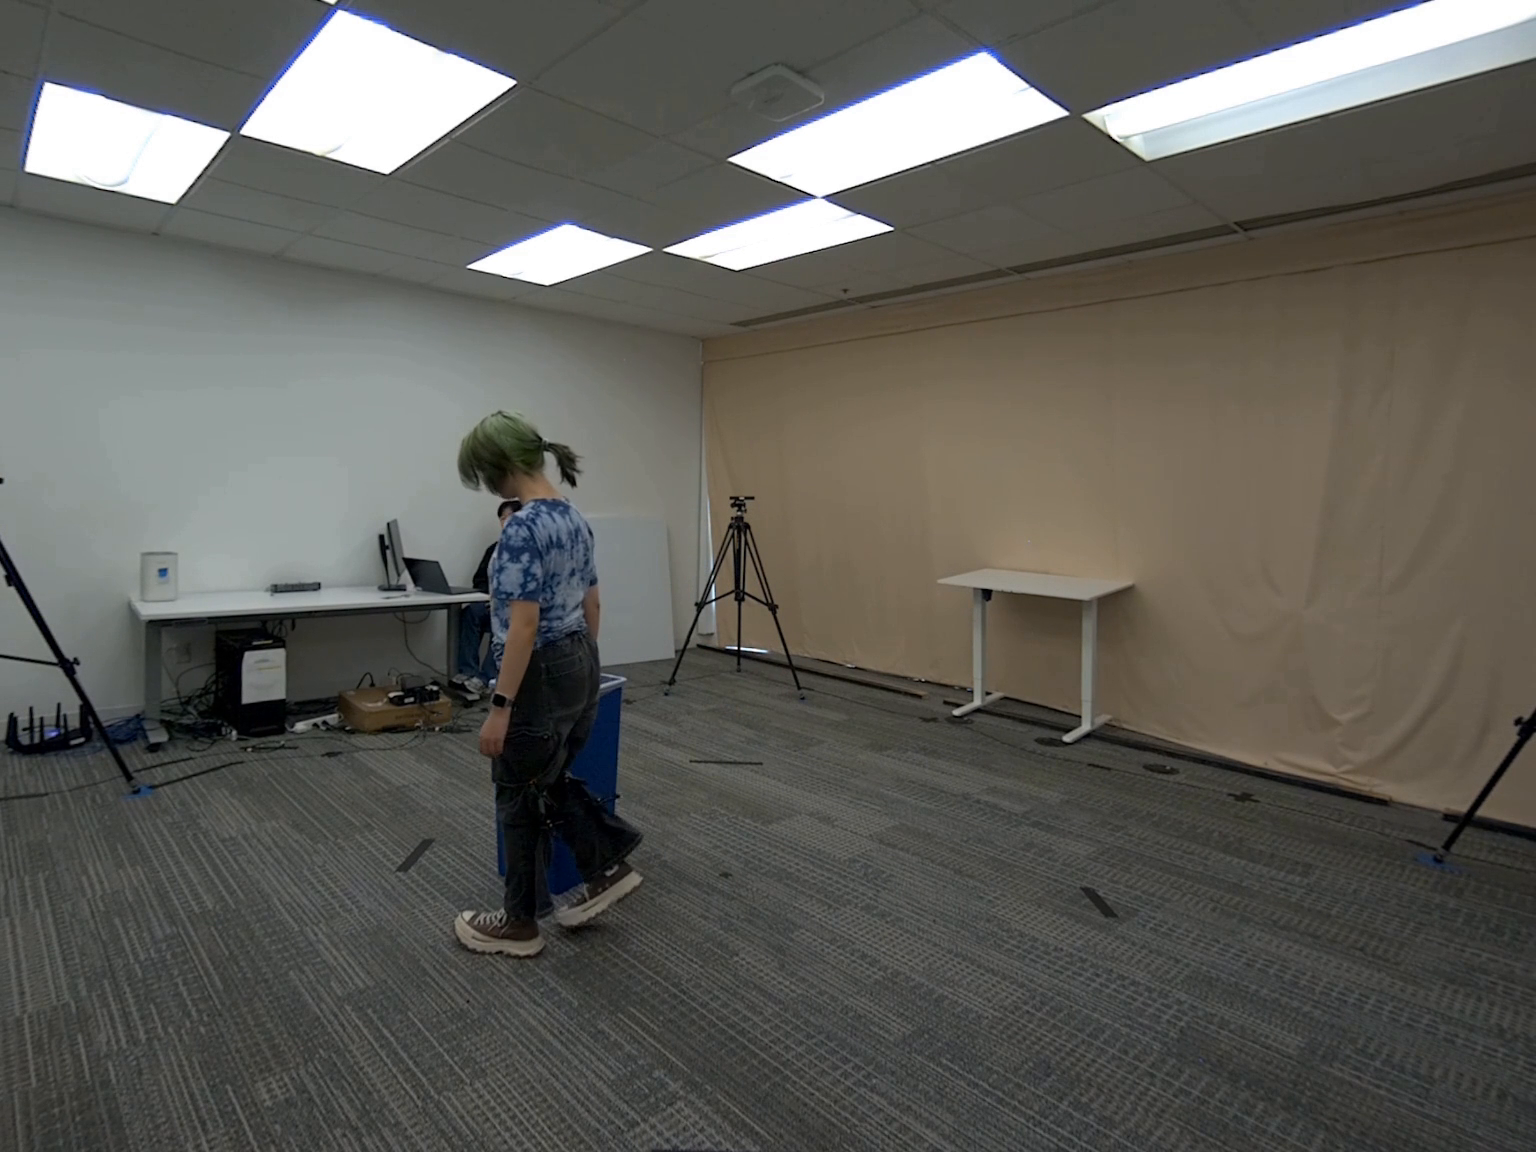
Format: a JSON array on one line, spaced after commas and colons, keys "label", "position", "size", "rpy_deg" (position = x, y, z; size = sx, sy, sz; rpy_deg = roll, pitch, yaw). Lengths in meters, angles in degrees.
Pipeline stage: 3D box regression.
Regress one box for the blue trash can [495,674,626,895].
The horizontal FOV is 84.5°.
[{"label": "blue trash can", "position": [-0.776, 0.736, 3.093], "size": [0.382, 0.712, 0.371], "rpy_deg": [4, 4, 29]}]
